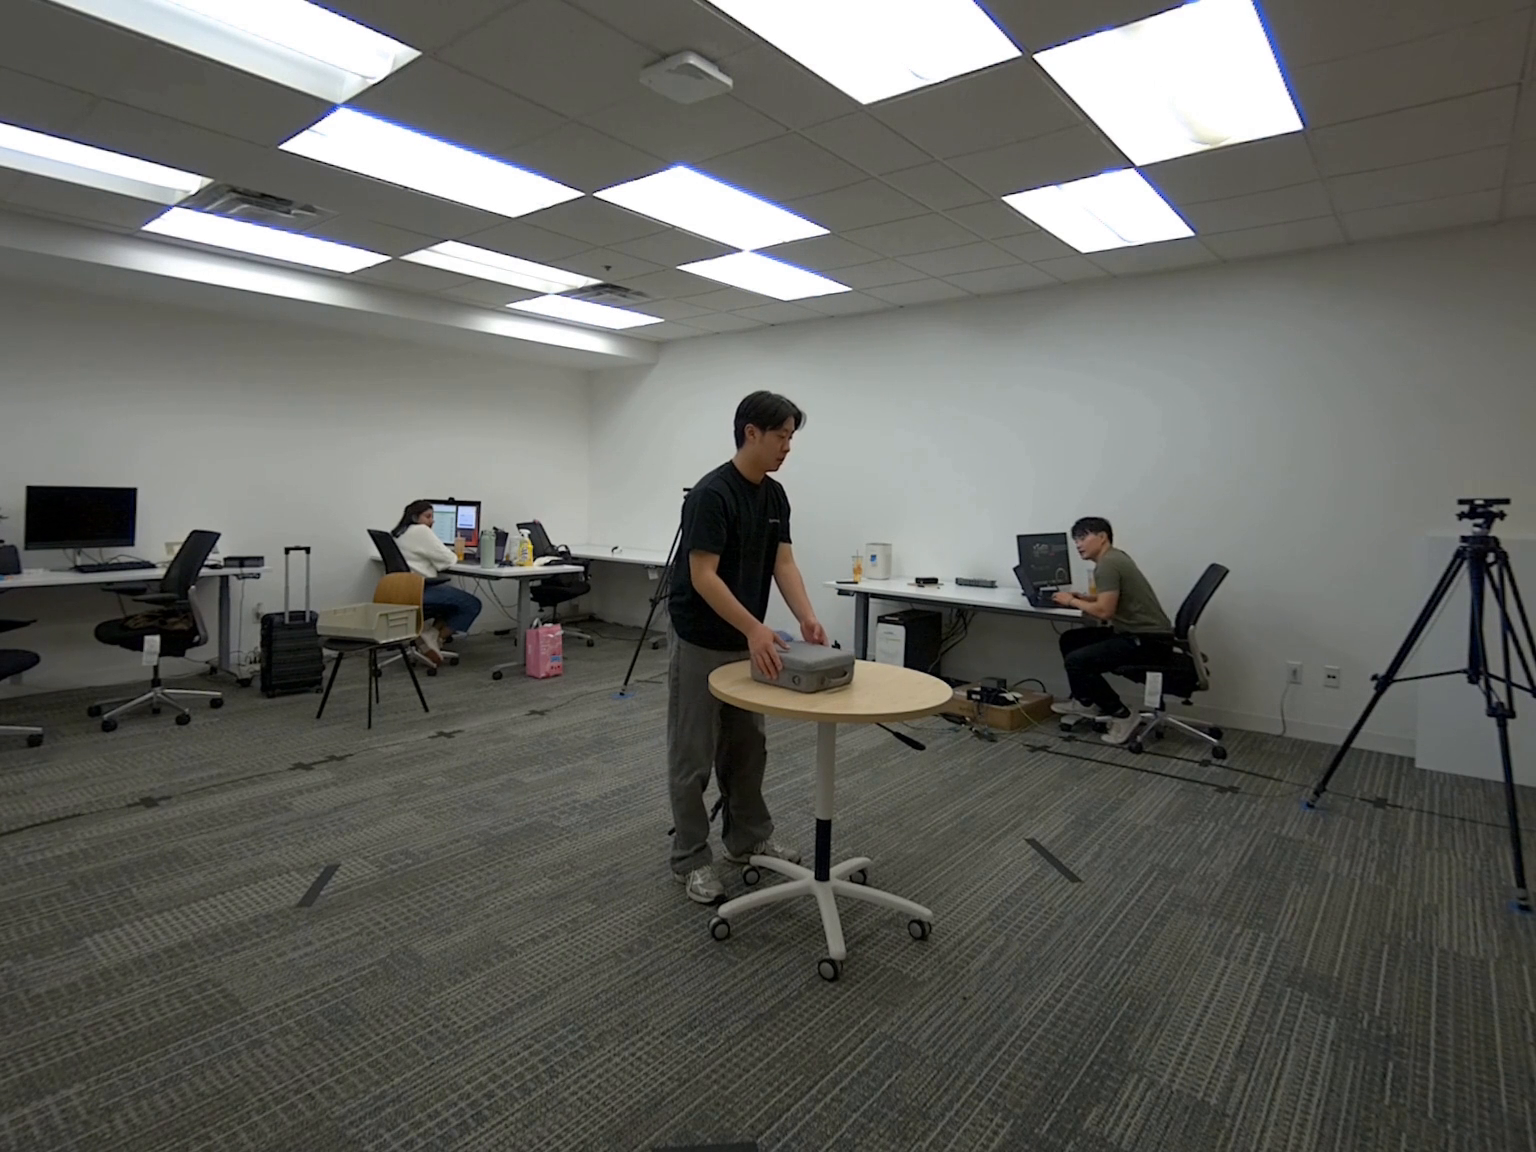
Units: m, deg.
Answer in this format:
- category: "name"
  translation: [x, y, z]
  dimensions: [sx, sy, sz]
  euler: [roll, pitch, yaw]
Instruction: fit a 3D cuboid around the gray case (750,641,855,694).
- category: "gray case"
  translation: [0.118, 0.285, 2.688]
  dimensions: [0.297, 0.102, 0.255]
  euler: [8, 8, 42]
